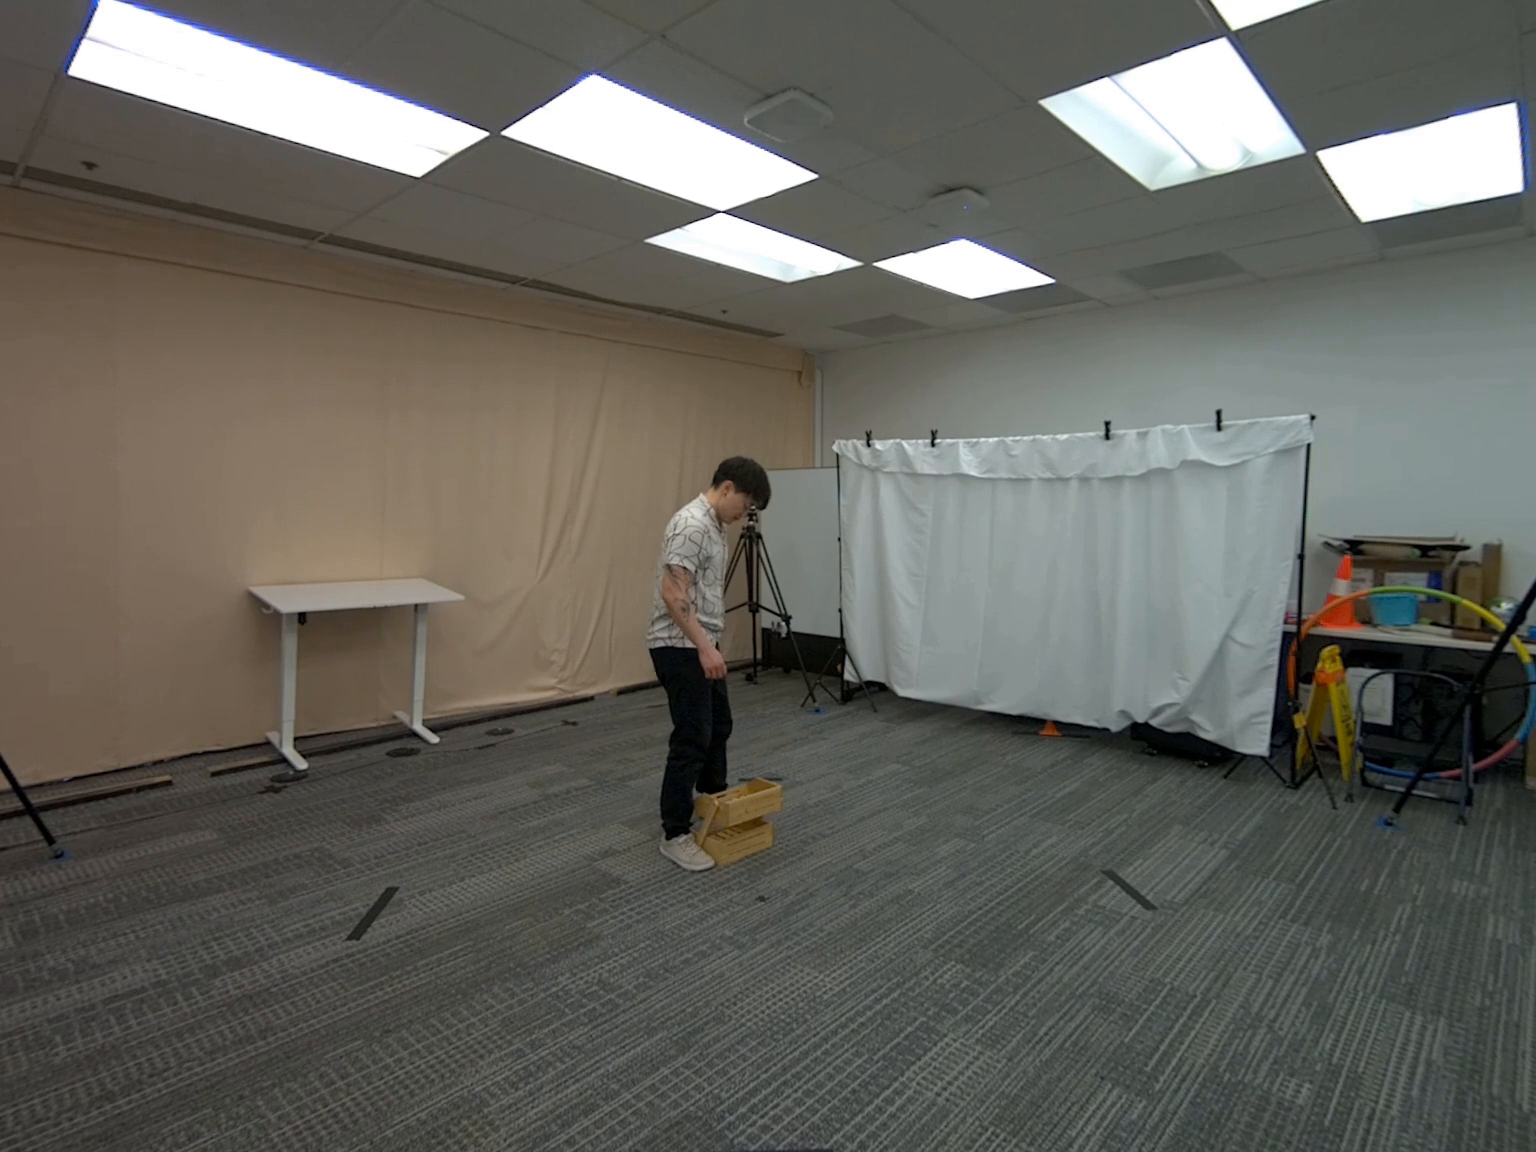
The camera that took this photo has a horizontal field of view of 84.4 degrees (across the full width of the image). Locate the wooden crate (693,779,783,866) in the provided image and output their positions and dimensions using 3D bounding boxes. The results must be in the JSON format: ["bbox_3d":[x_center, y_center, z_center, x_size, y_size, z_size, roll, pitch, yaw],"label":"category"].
[{"bbox_3d":[-0.154,0.971,3.417,0.314,0.272,0.312,-4,6,-43],"label":"wooden crate"}]
